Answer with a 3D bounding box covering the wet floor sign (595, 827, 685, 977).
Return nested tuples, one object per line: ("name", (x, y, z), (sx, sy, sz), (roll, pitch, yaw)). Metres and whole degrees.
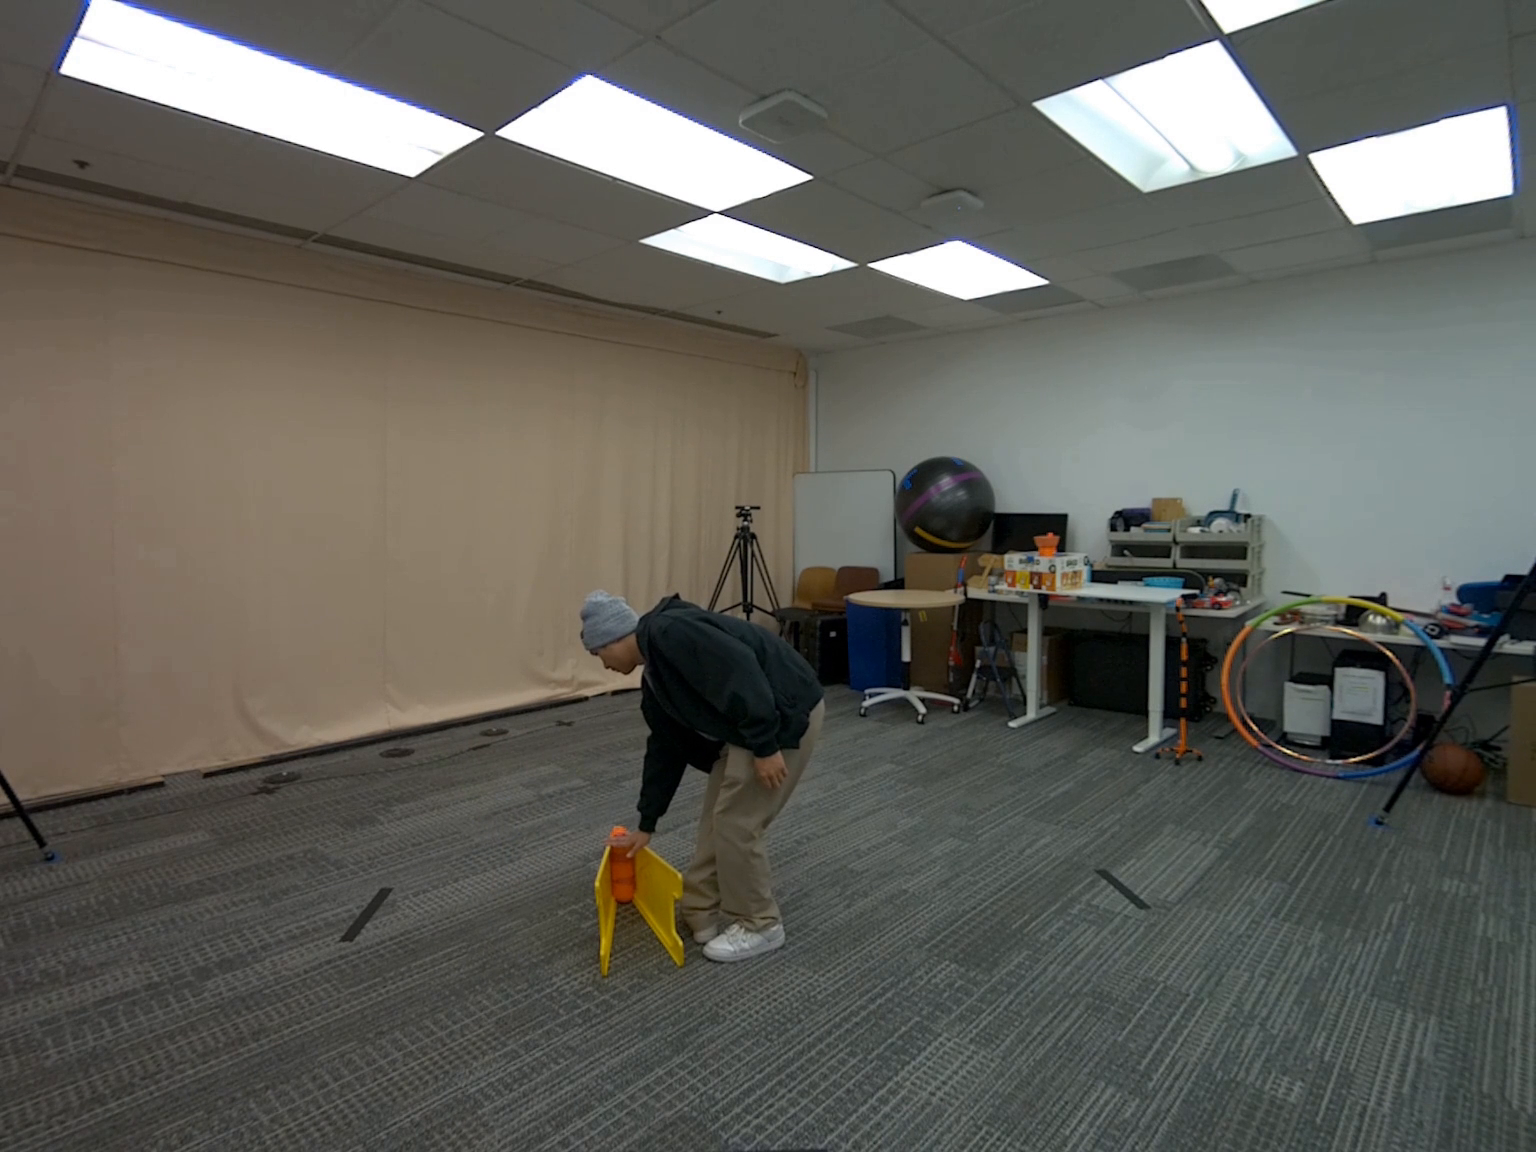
("wet floor sign", (-0.478, 1.037, 2.822), (0.286, 0.282, 0.655), (-2, 2, -15))
